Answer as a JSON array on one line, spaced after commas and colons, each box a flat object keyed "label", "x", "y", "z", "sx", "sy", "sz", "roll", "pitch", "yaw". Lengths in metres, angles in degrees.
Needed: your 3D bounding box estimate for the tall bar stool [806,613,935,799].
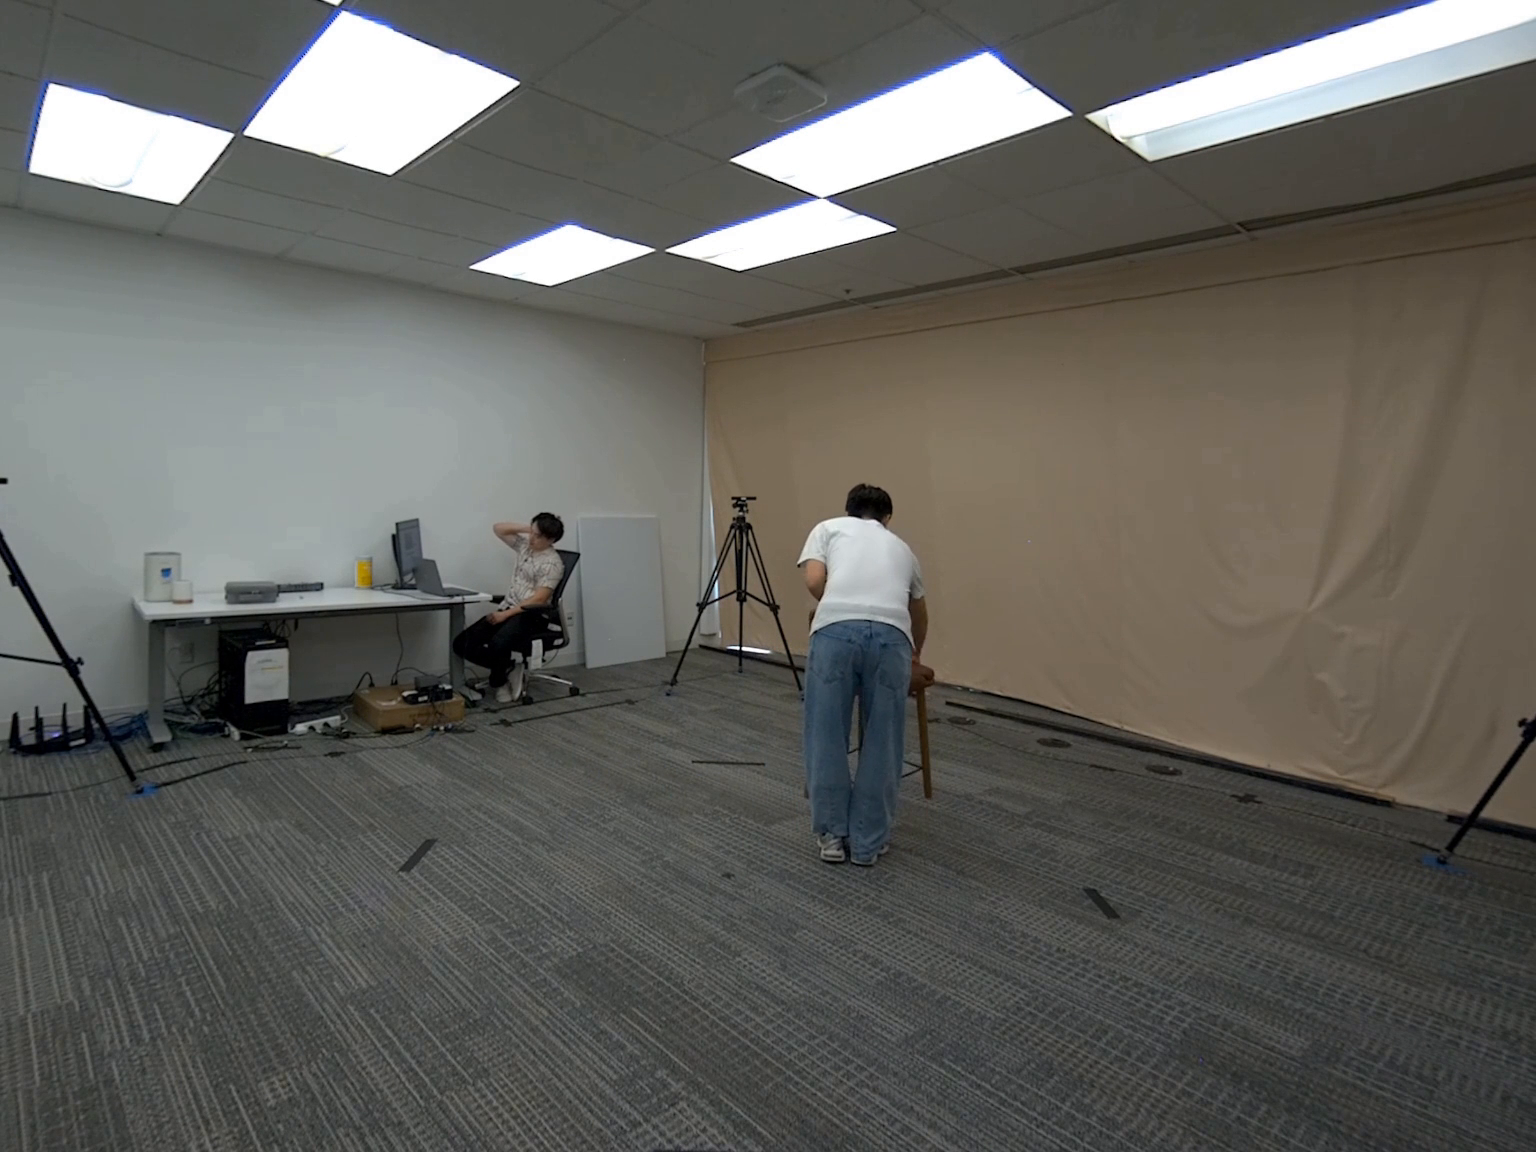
[{"label": "tall bar stool", "x": 0.449, "y": 0.586, "z": 3.755, "sx": 0.458, "sy": 0.884, "sz": 0.469, "roll": -8, "pitch": 12, "yaw": -43}]
